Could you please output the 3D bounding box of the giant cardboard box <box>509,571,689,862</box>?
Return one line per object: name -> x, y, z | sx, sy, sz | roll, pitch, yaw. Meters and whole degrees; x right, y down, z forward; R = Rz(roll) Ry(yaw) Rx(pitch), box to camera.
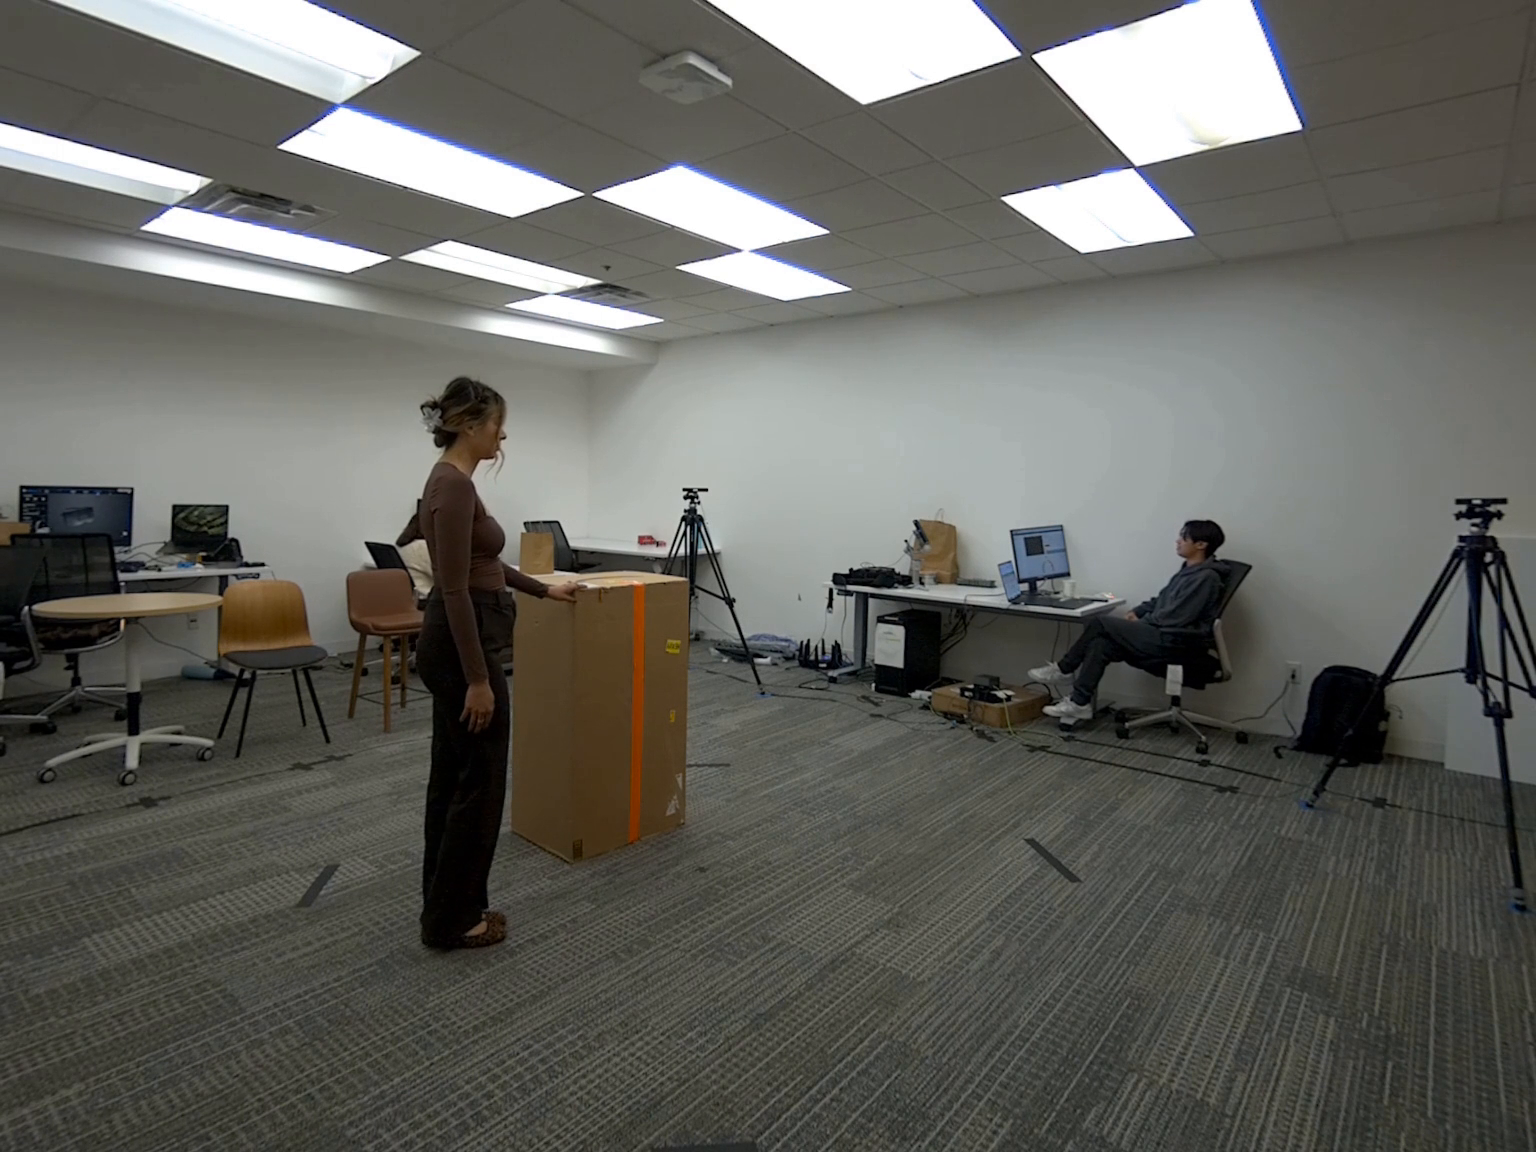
giant cardboard box -> -0.688, 0.518, 3.455 | 0.462, 1.024, 0.566 | 5, 5, 45
